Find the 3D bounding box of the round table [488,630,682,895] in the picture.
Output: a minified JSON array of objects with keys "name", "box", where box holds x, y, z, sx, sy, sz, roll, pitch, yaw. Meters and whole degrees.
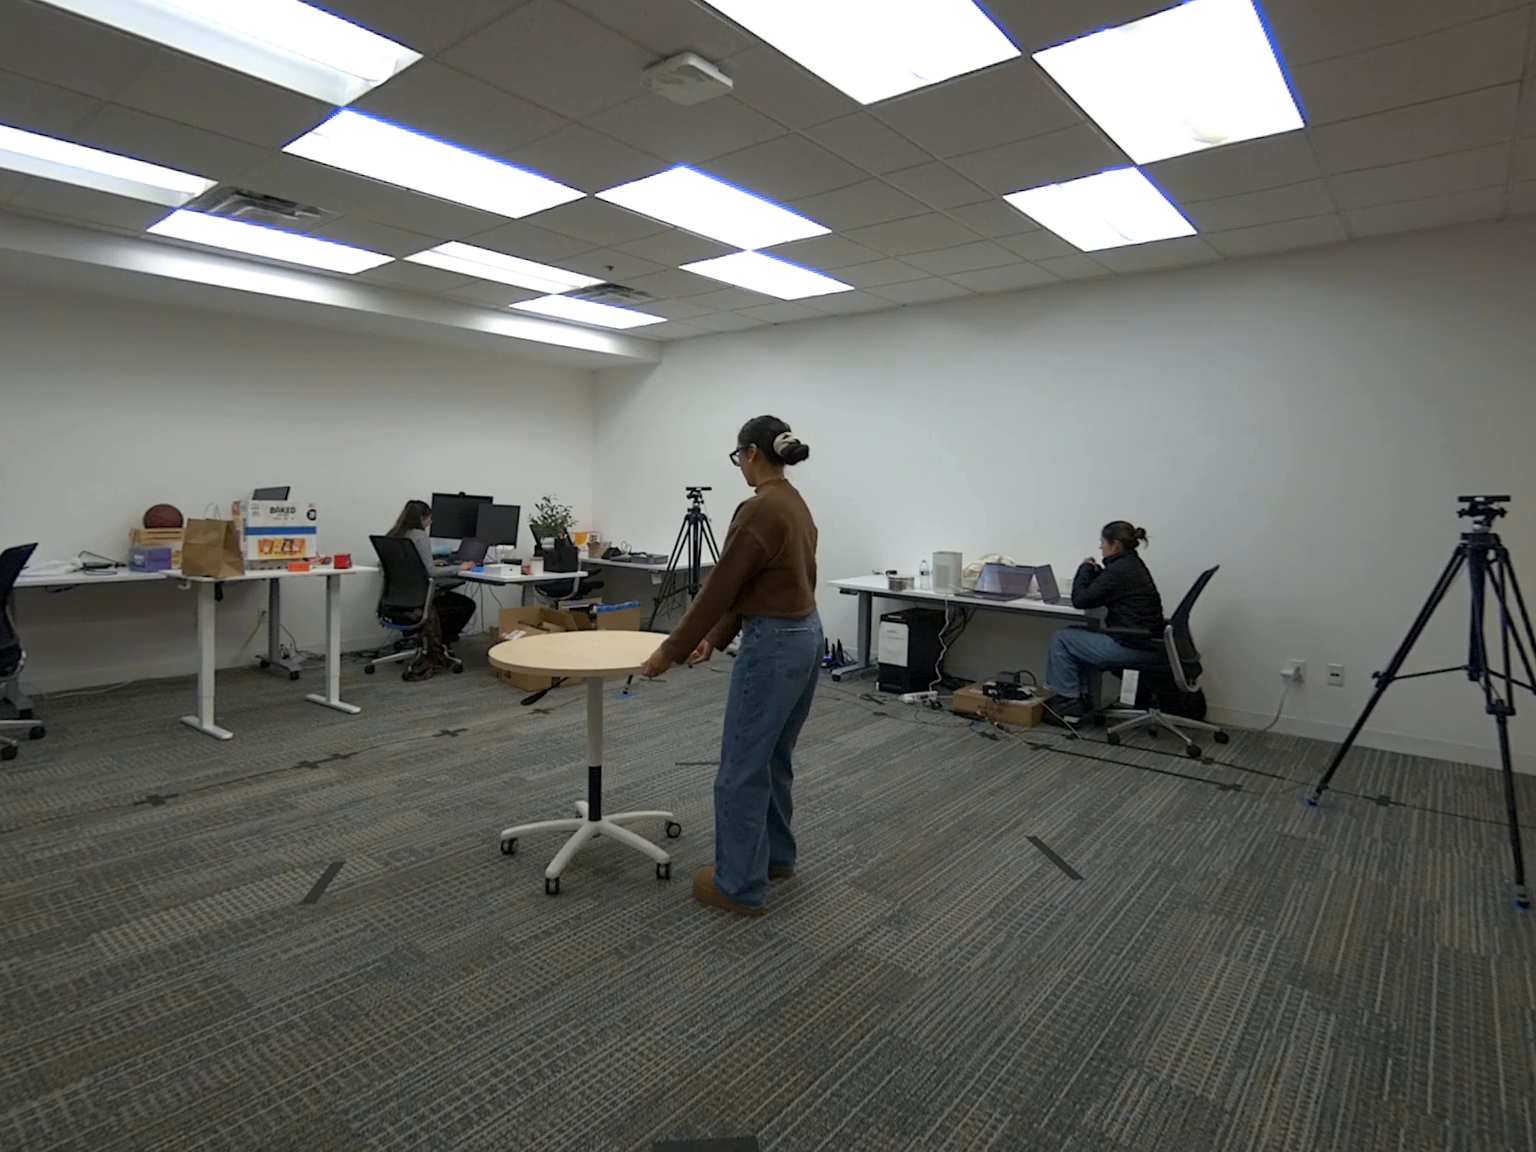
[{"name":"round table","box":[-0.631,0.656,3.185,0.784,0.784,0.789,0,4,-2]}]
